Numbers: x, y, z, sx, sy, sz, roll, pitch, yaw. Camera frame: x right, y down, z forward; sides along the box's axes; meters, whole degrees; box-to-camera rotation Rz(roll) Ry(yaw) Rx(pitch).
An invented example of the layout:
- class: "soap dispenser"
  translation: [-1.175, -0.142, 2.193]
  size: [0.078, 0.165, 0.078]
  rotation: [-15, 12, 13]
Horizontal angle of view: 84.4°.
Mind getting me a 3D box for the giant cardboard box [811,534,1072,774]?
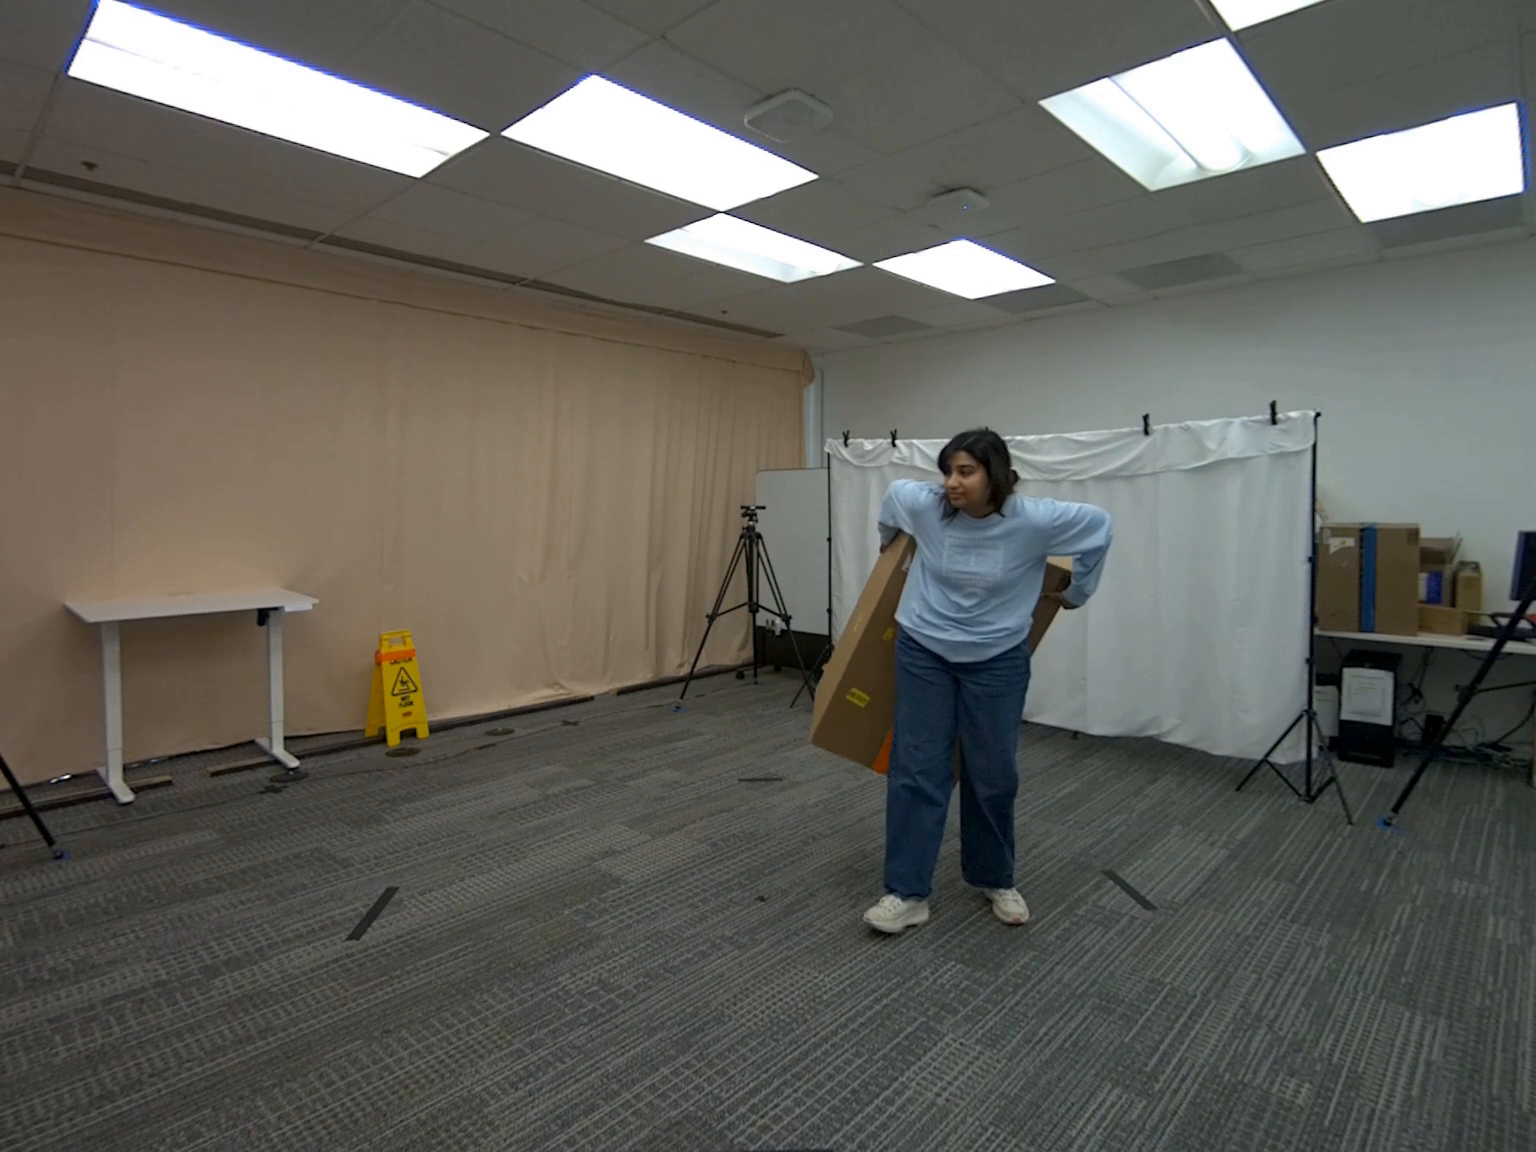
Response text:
- class: "giant cardboard box"
  translation: [0.629, 0.244, 3.223]
  size: [0.579, 1.021, 0.427]
  rotation: [22, 23, 1]
